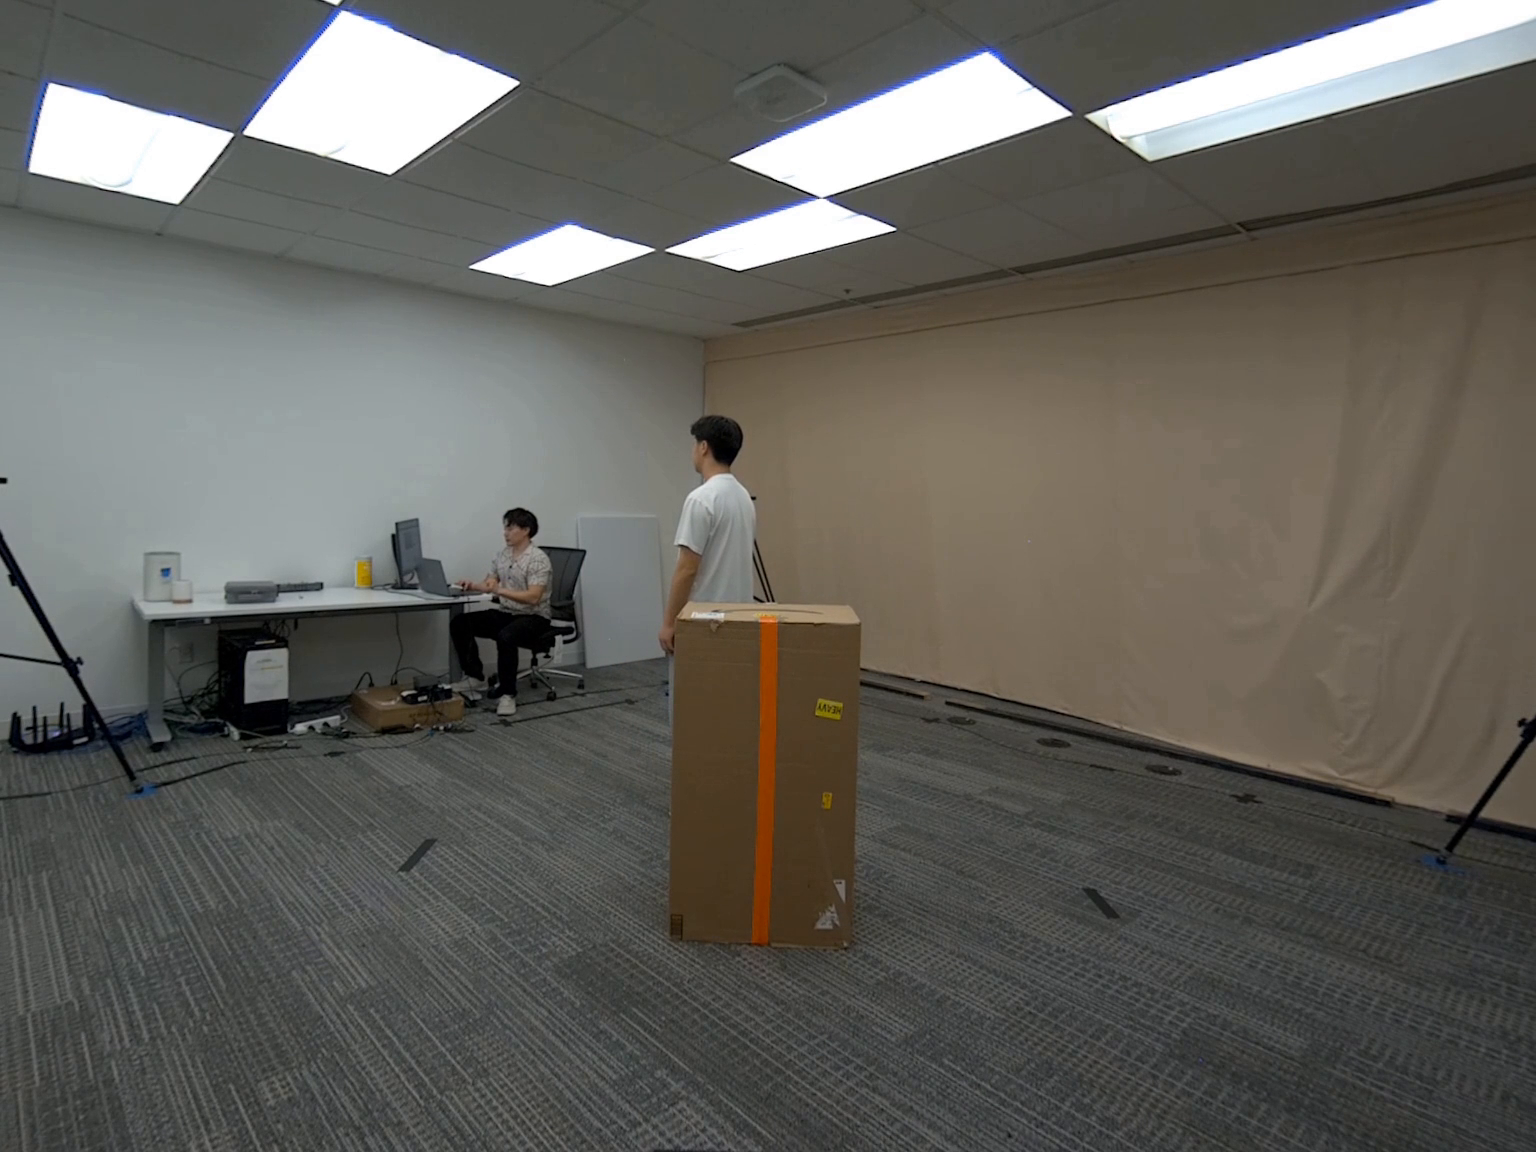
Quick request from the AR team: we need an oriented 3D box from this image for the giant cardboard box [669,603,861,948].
[{"bbox_3d":[-0.013,0.634,2.795,0.578,1.023,0.427,1,4,0],"label":"giant cardboard box"}]
